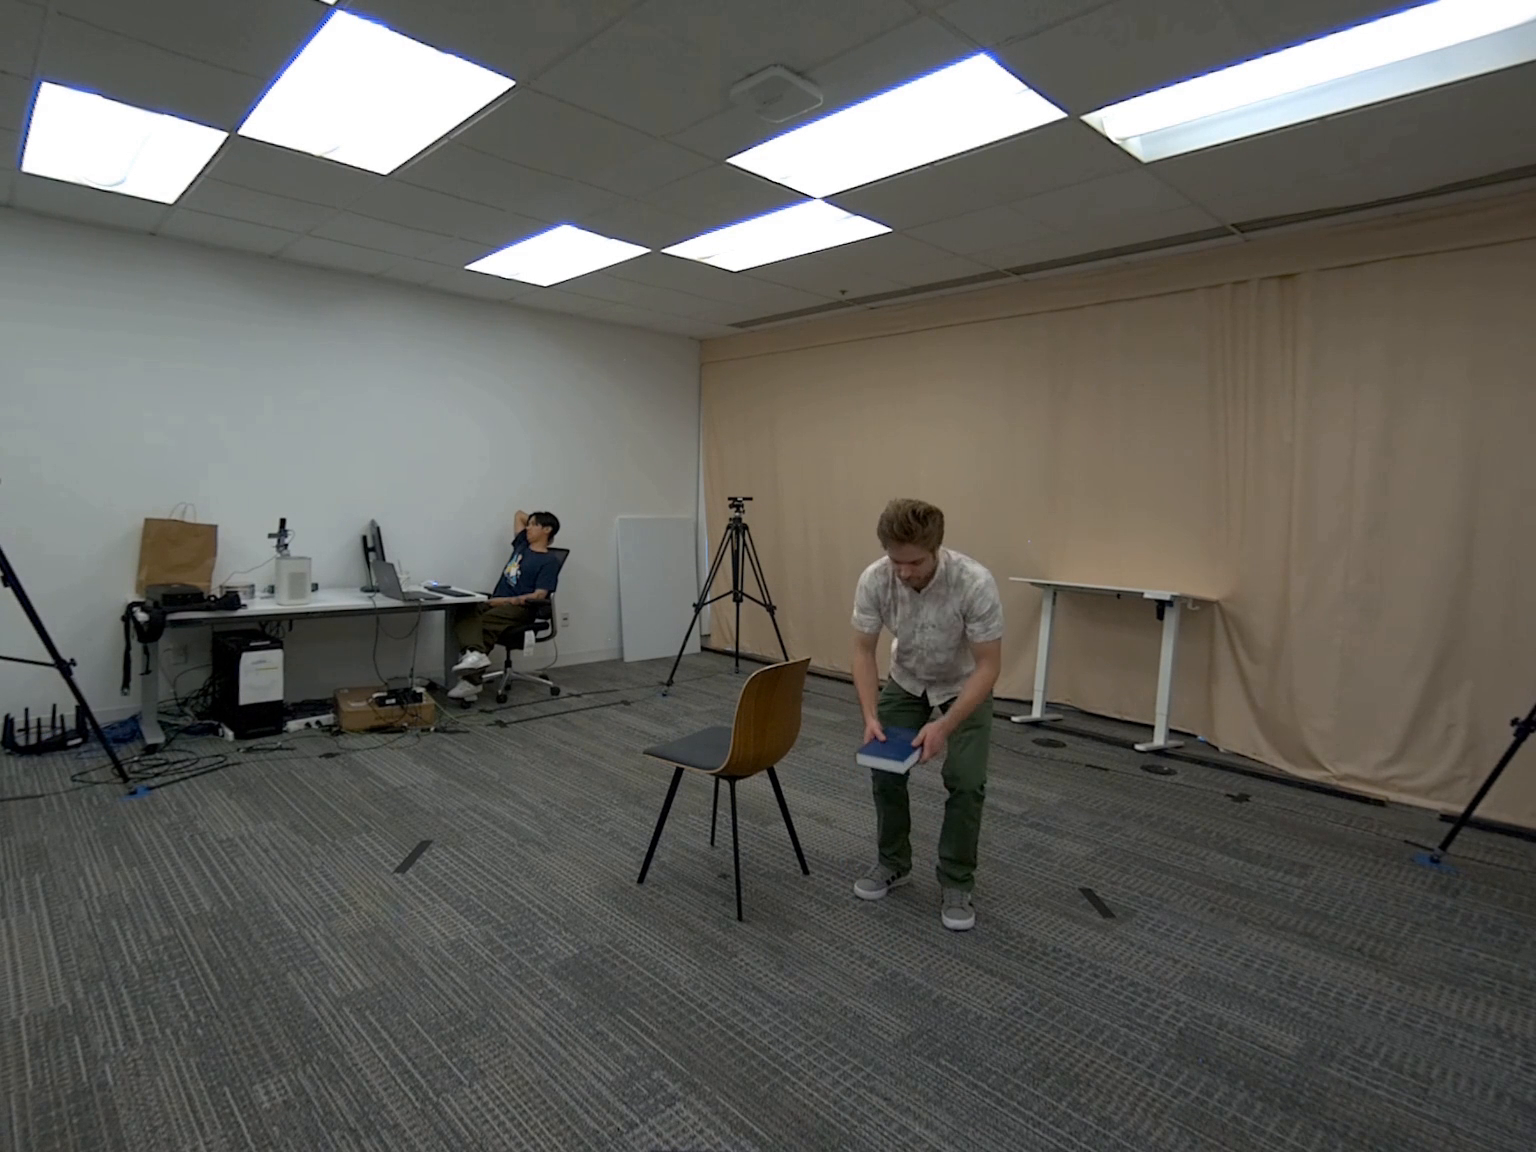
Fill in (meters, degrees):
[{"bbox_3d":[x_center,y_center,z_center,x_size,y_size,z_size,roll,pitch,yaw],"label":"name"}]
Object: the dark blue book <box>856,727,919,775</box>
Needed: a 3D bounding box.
[{"bbox_3d":[0.397,0.551,2.642,0.167,0.045,0.241,3,11,31],"label":"dark blue book"}]
